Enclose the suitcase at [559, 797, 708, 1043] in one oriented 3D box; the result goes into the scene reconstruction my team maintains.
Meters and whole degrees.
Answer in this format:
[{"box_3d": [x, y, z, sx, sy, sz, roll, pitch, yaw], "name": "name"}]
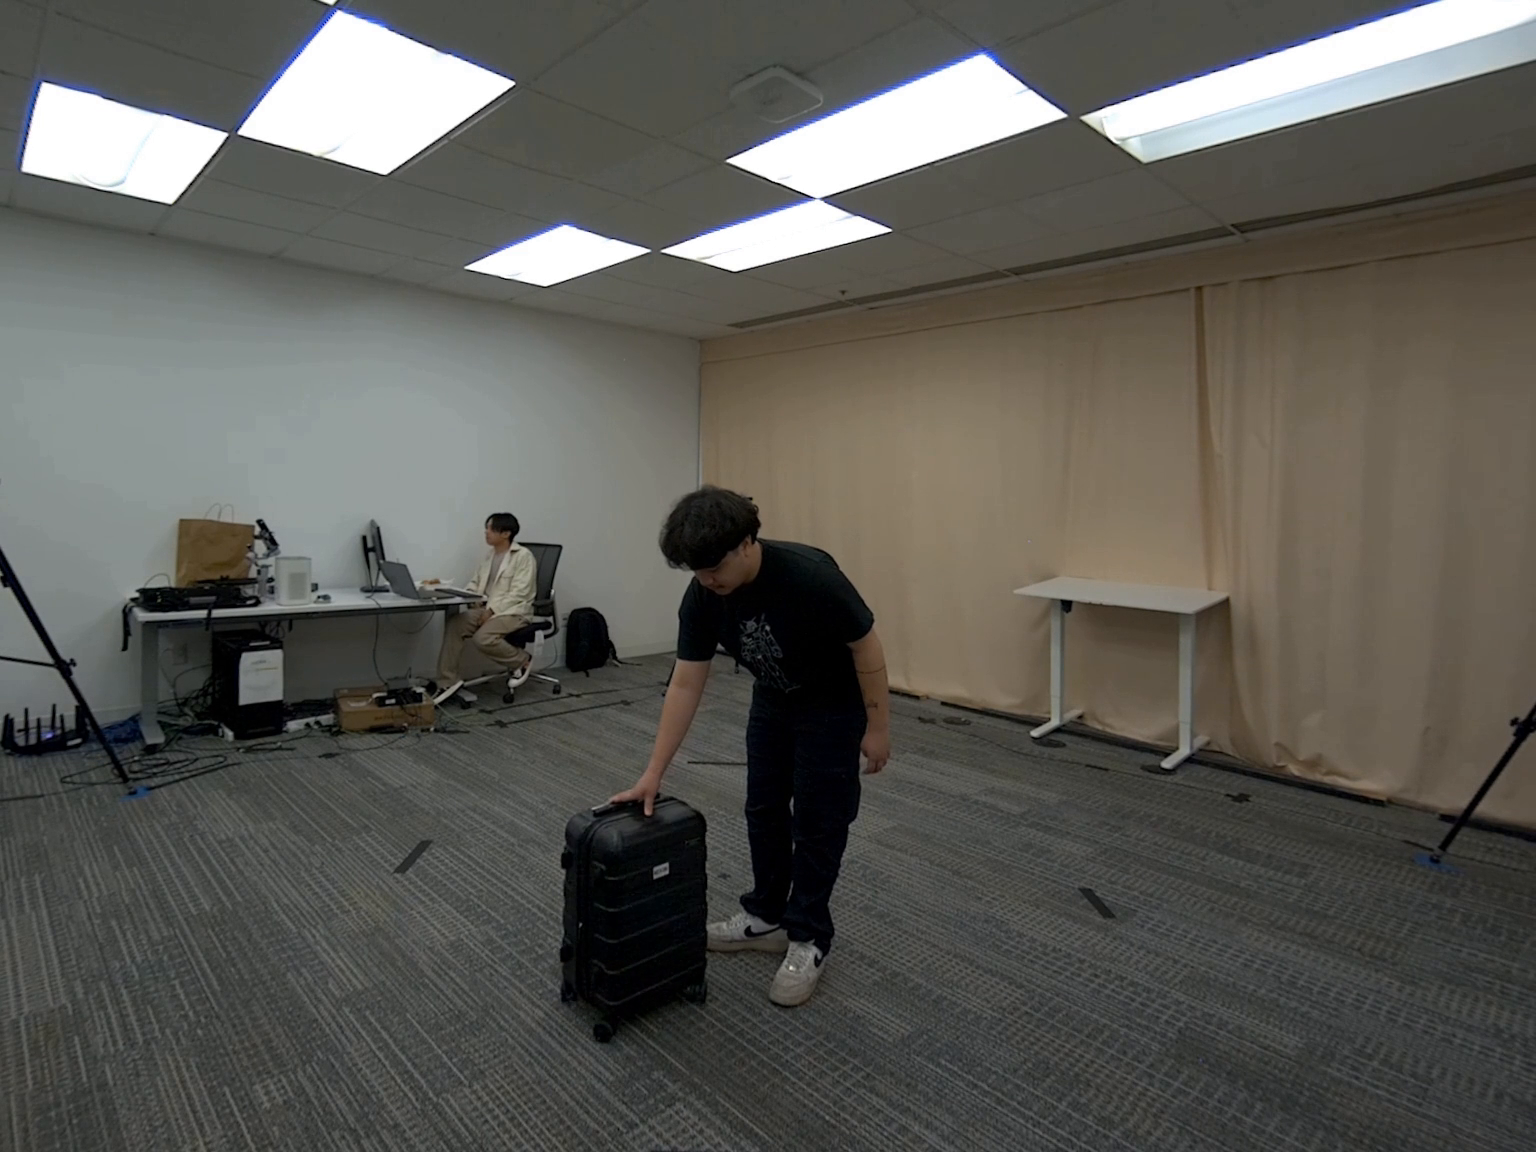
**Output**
[{"box_3d": [-0.366, 0.902, 2.307, 0.367, 0.548, 0.255, -2, 5, -43], "name": "suitcase"}]
